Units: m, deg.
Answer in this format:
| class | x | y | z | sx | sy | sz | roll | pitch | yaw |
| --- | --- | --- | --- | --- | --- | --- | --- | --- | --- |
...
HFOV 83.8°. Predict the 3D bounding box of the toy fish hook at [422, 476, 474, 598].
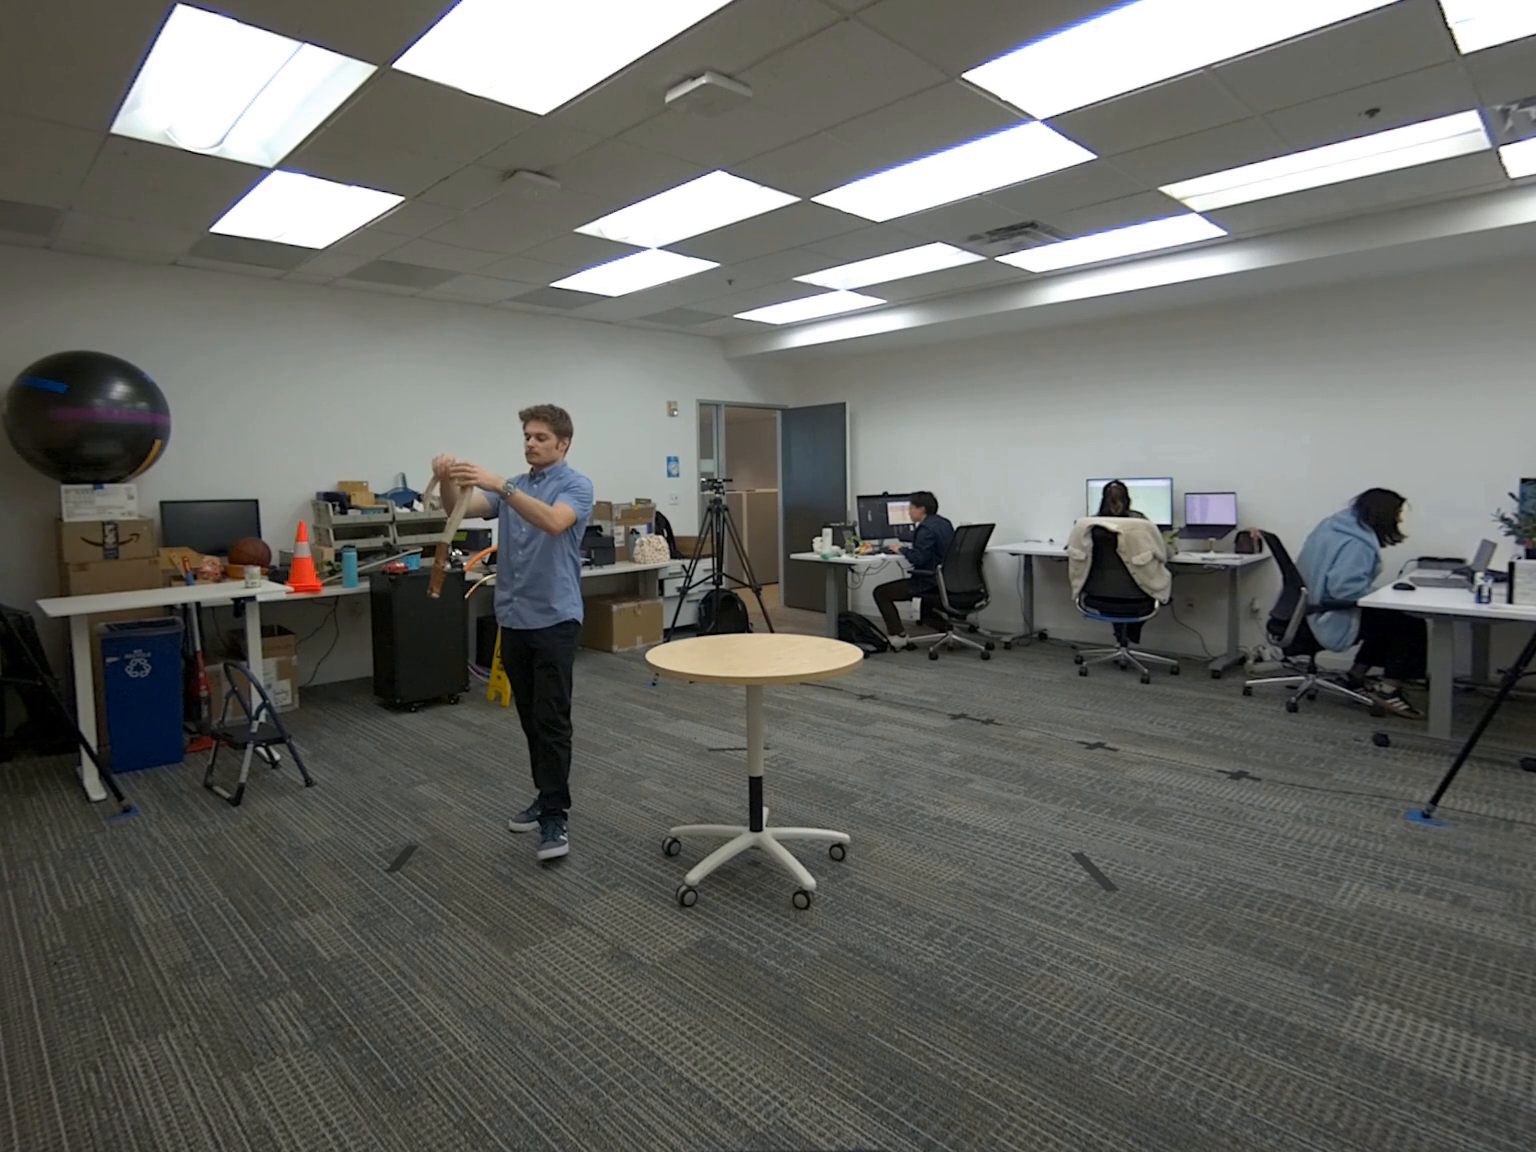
| class | x | y | z | sx | sy | sz | roll | pitch | yaw |
| --- | --- | --- | --- | --- | --- | --- | --- | --- | --- |
| toy fish hook | -1.159 | -0.164 | 3.040 | 0.230 | 0.512 | 0.046 | -3 | -16 | 32 |
